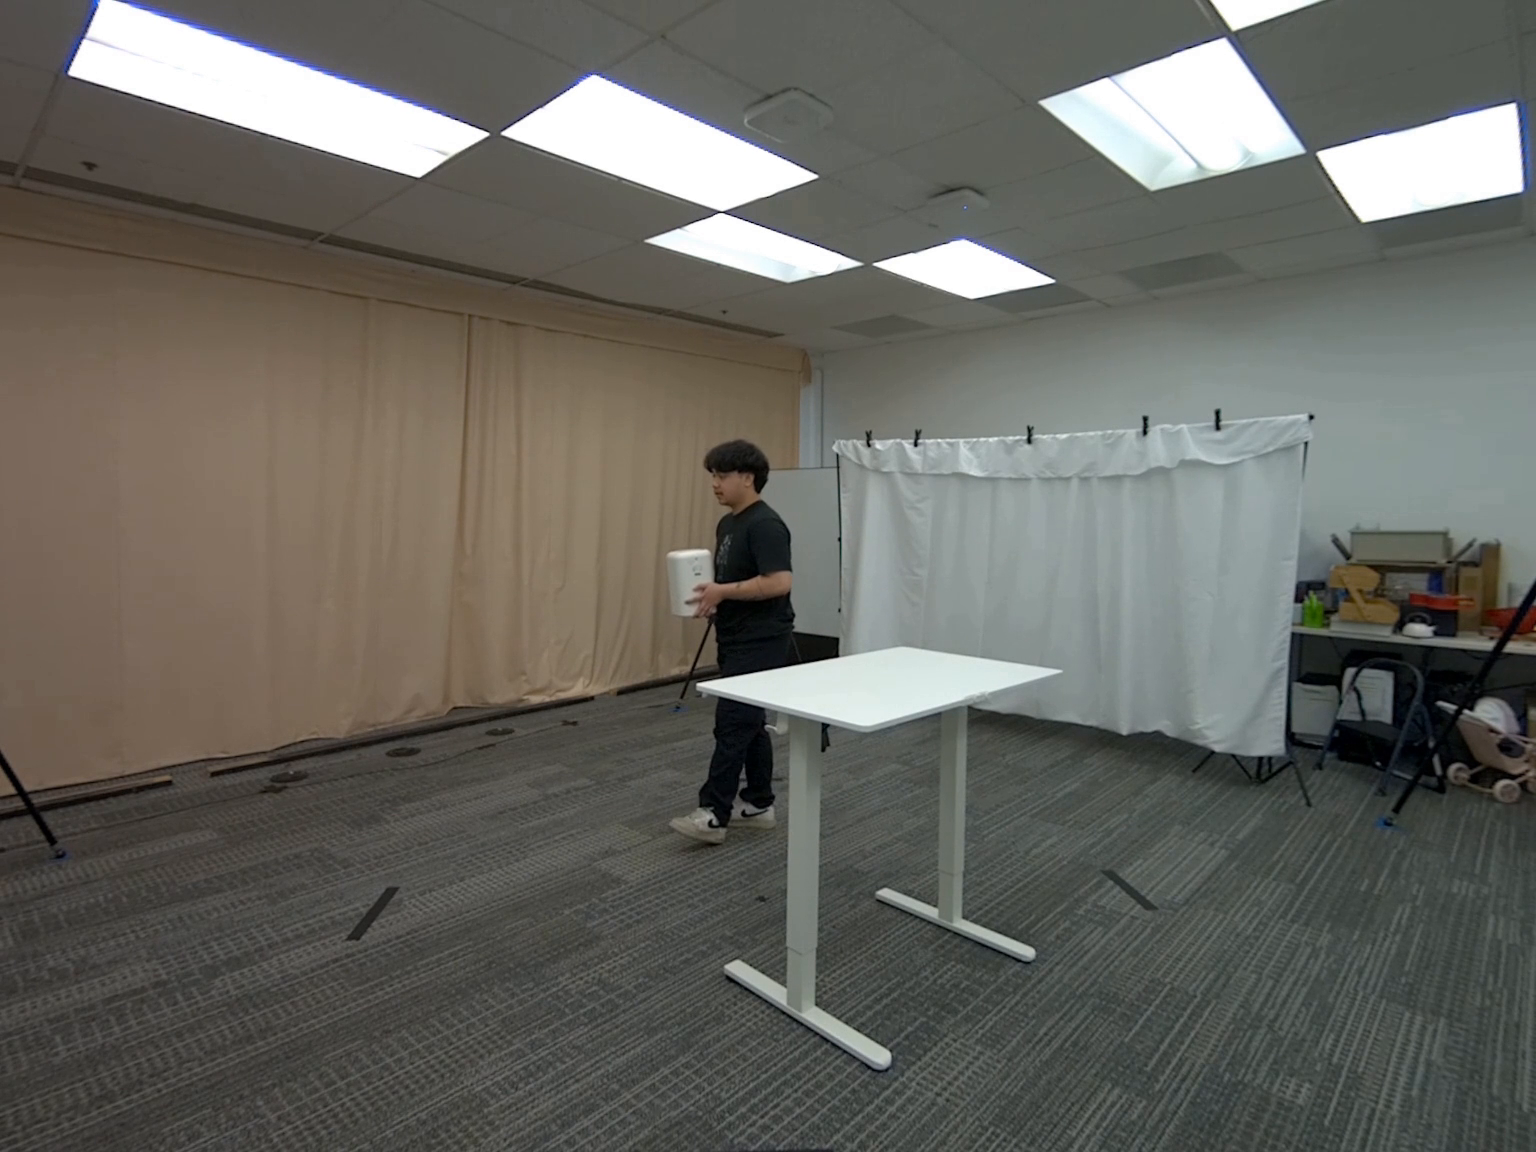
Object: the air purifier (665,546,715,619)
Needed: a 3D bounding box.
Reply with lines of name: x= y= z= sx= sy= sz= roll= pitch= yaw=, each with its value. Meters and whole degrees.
air purifier: x=-0.314 y=0.022 z=3.513 sx=0.168 sy=0.264 sz=0.175 roll=-6 pitch=6 yaw=-19
